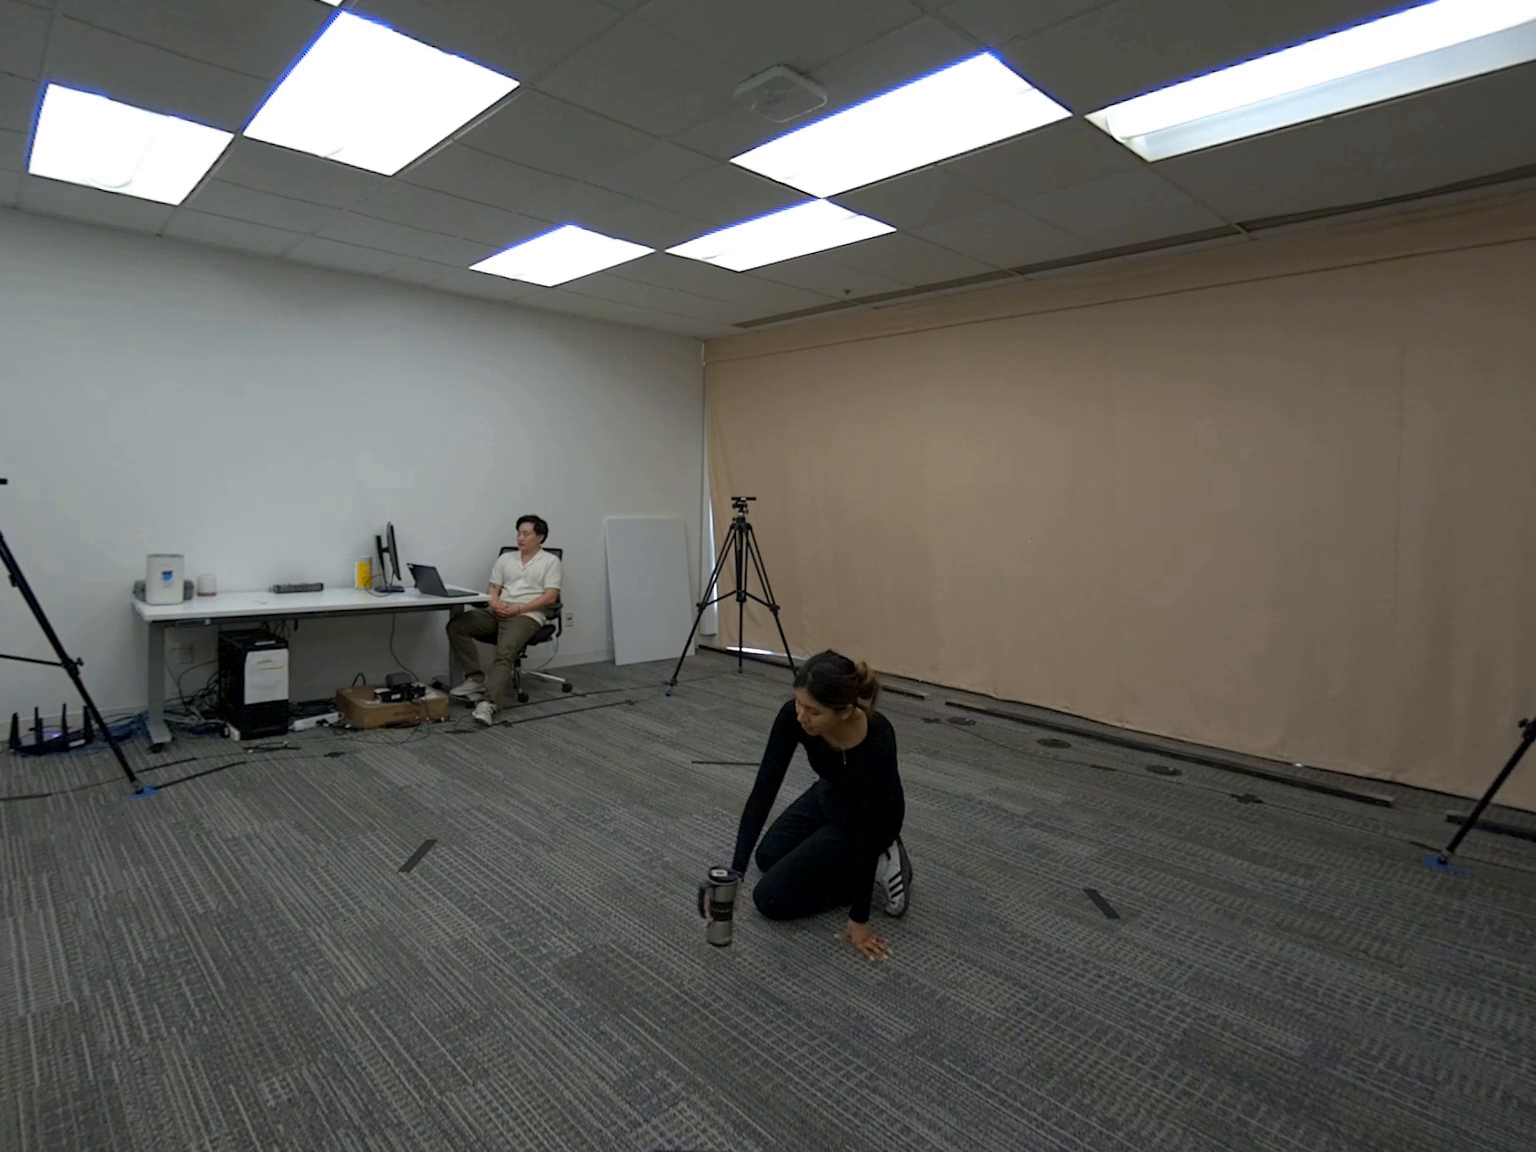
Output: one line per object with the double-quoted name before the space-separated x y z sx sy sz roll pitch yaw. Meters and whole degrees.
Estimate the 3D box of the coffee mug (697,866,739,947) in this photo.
"coffee mug" -0.159 0.951 2.401 0.120 0.202 0.089 6 3 -22
